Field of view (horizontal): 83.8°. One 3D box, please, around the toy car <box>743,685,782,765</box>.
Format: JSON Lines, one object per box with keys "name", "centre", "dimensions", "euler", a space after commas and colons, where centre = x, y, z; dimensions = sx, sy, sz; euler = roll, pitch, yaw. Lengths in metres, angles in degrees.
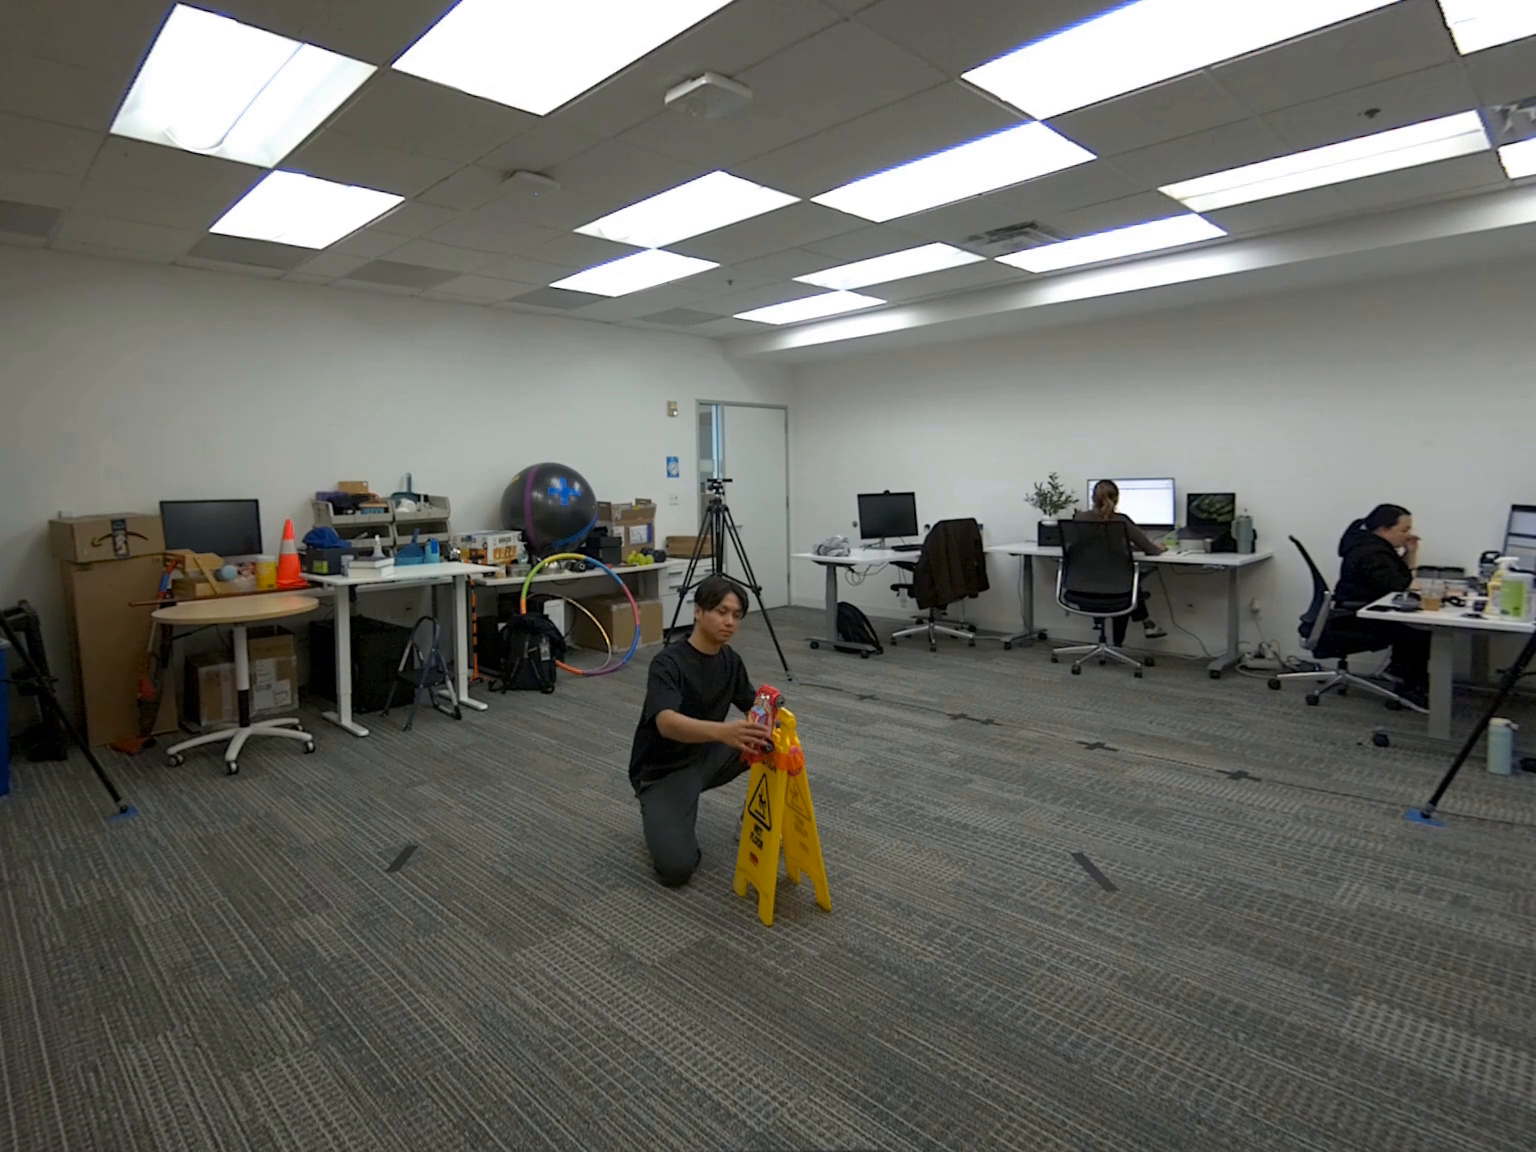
{"name": "toy car", "centre": [-0.016, 0.488, 2.755], "dimensions": [0.080, 0.255, 0.134], "euler": [26, -7, -30]}
